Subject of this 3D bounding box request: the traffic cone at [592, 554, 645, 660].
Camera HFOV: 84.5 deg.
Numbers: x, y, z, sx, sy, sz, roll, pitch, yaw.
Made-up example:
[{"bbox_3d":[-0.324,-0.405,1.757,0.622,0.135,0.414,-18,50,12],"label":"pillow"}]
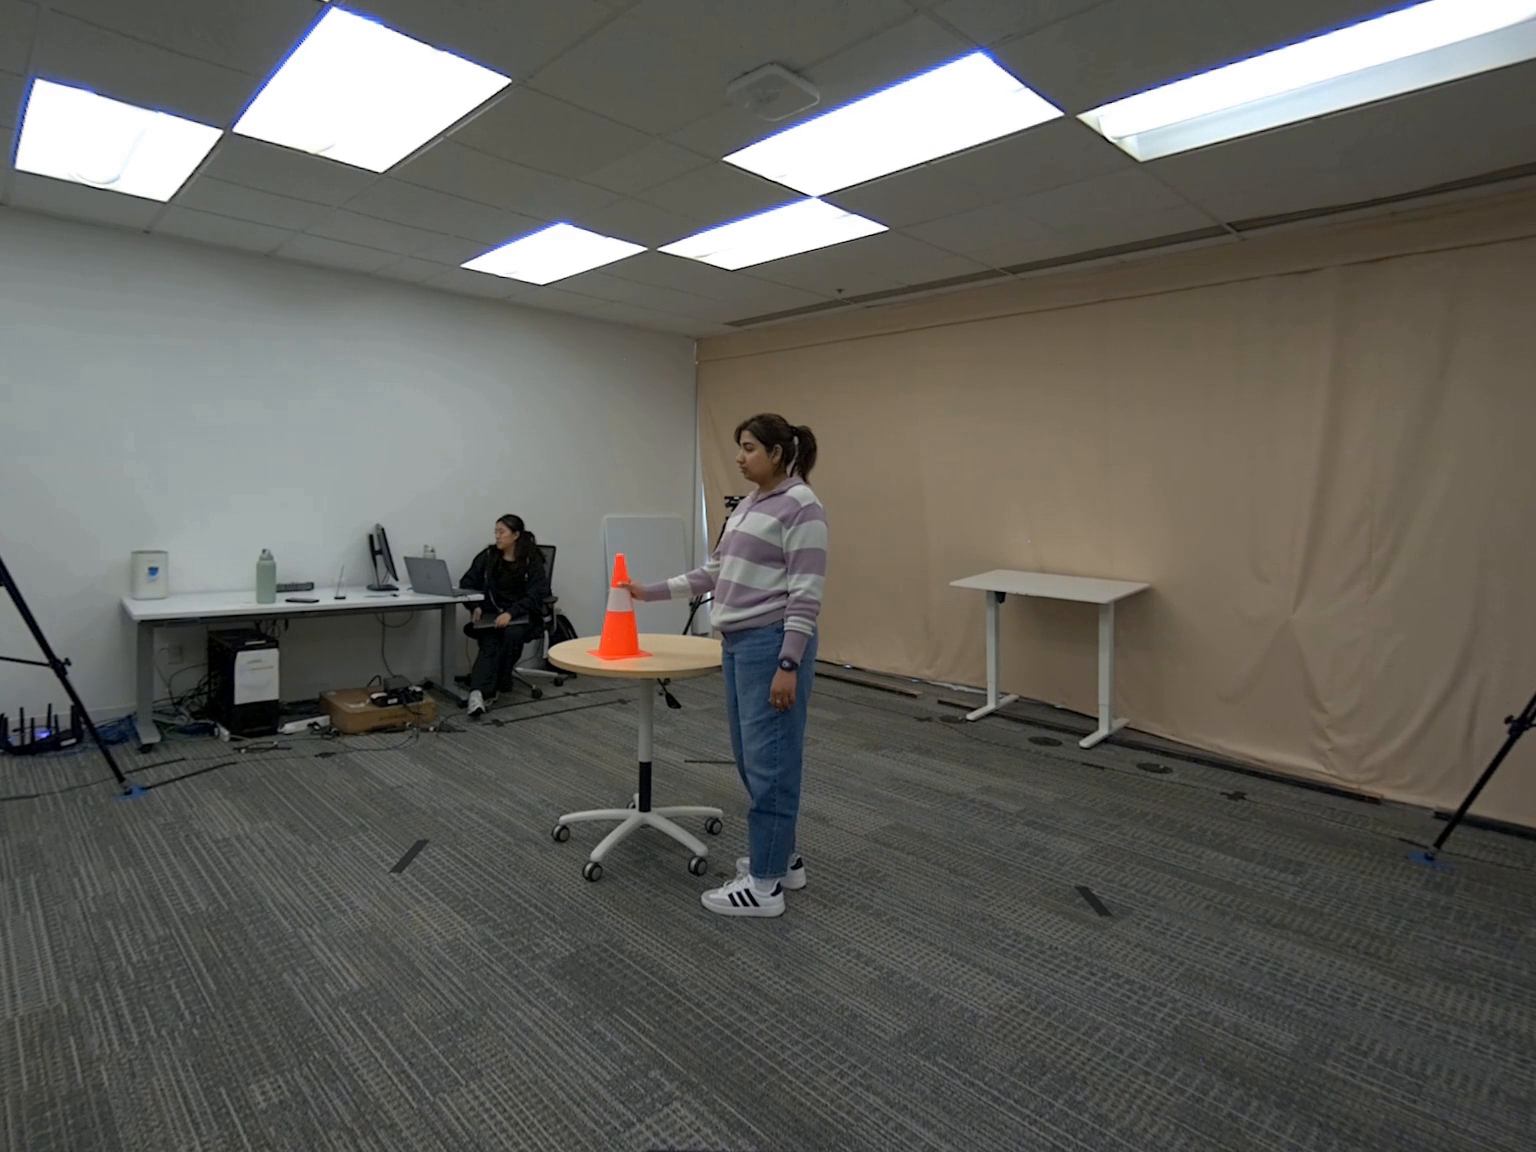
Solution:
[{"bbox_3d":[-0.565,0.110,3.222,0.200,0.383,0.208,1,3,-42],"label":"traffic cone"}]
